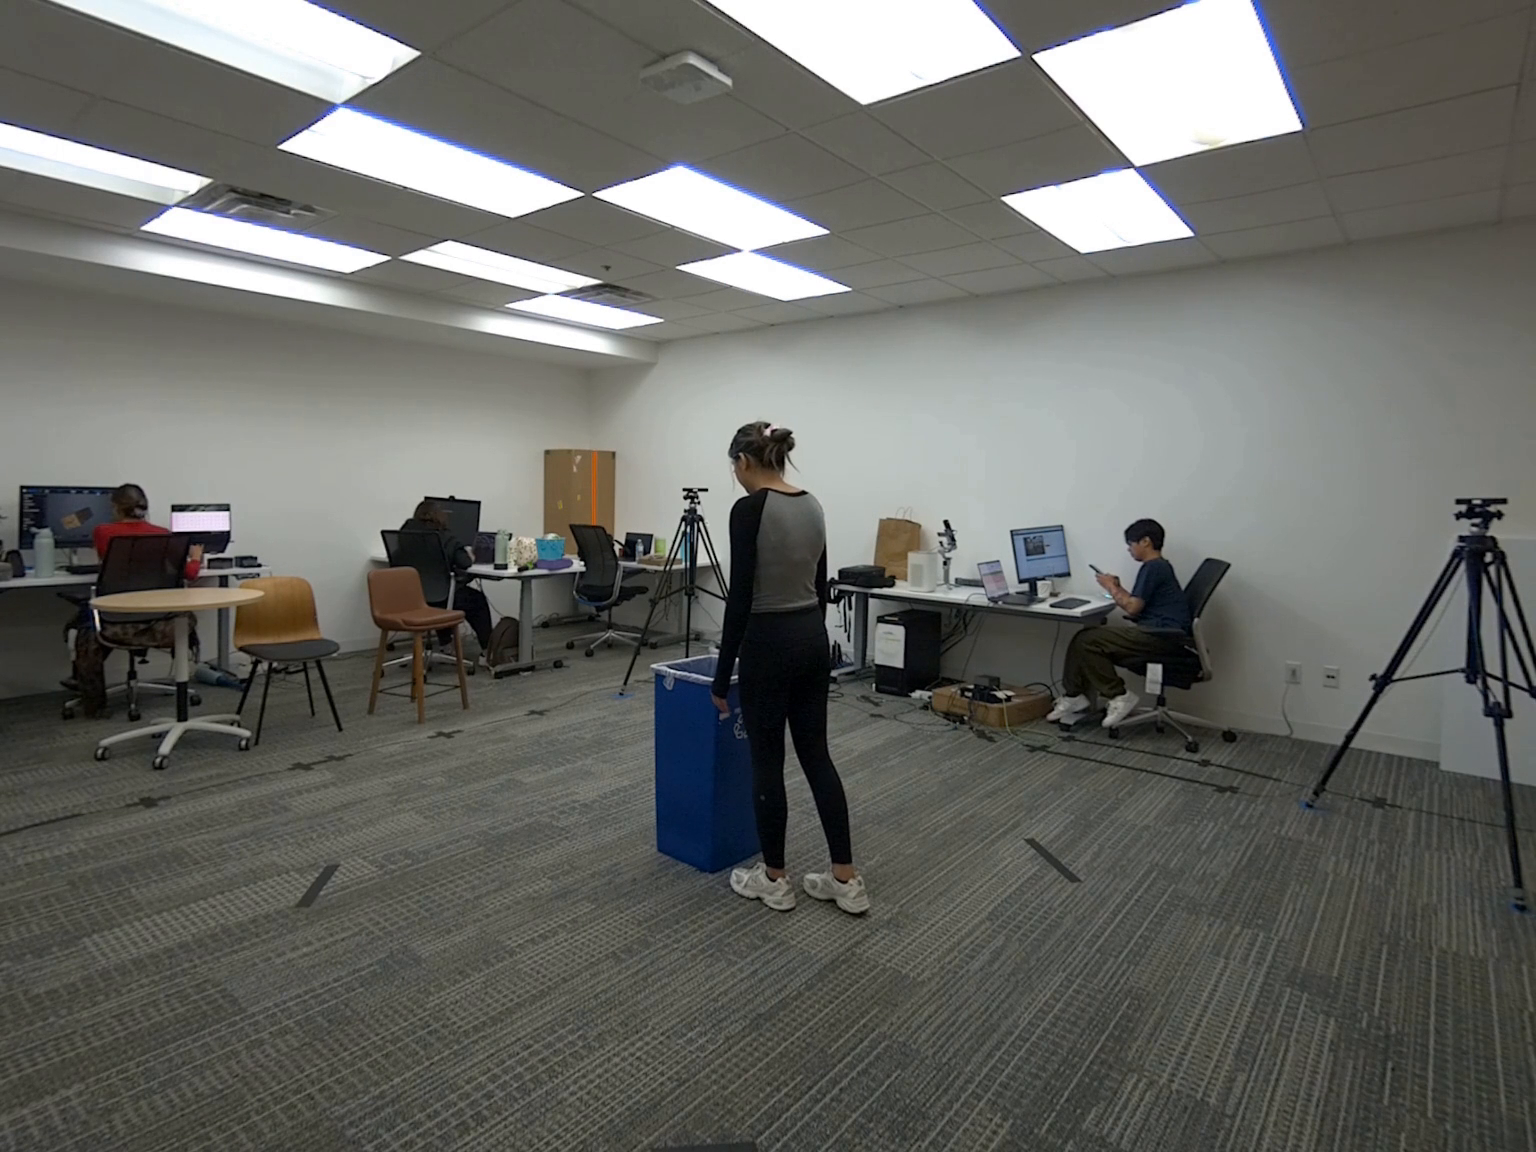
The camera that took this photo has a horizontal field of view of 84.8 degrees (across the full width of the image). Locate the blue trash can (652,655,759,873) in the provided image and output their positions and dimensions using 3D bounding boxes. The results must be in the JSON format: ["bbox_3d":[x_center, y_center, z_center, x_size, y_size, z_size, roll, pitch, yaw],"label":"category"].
[{"bbox_3d":[-0.224,0.697,3.268,0.391,0.711,0.363,4,4,40],"label":"blue trash can"}]
